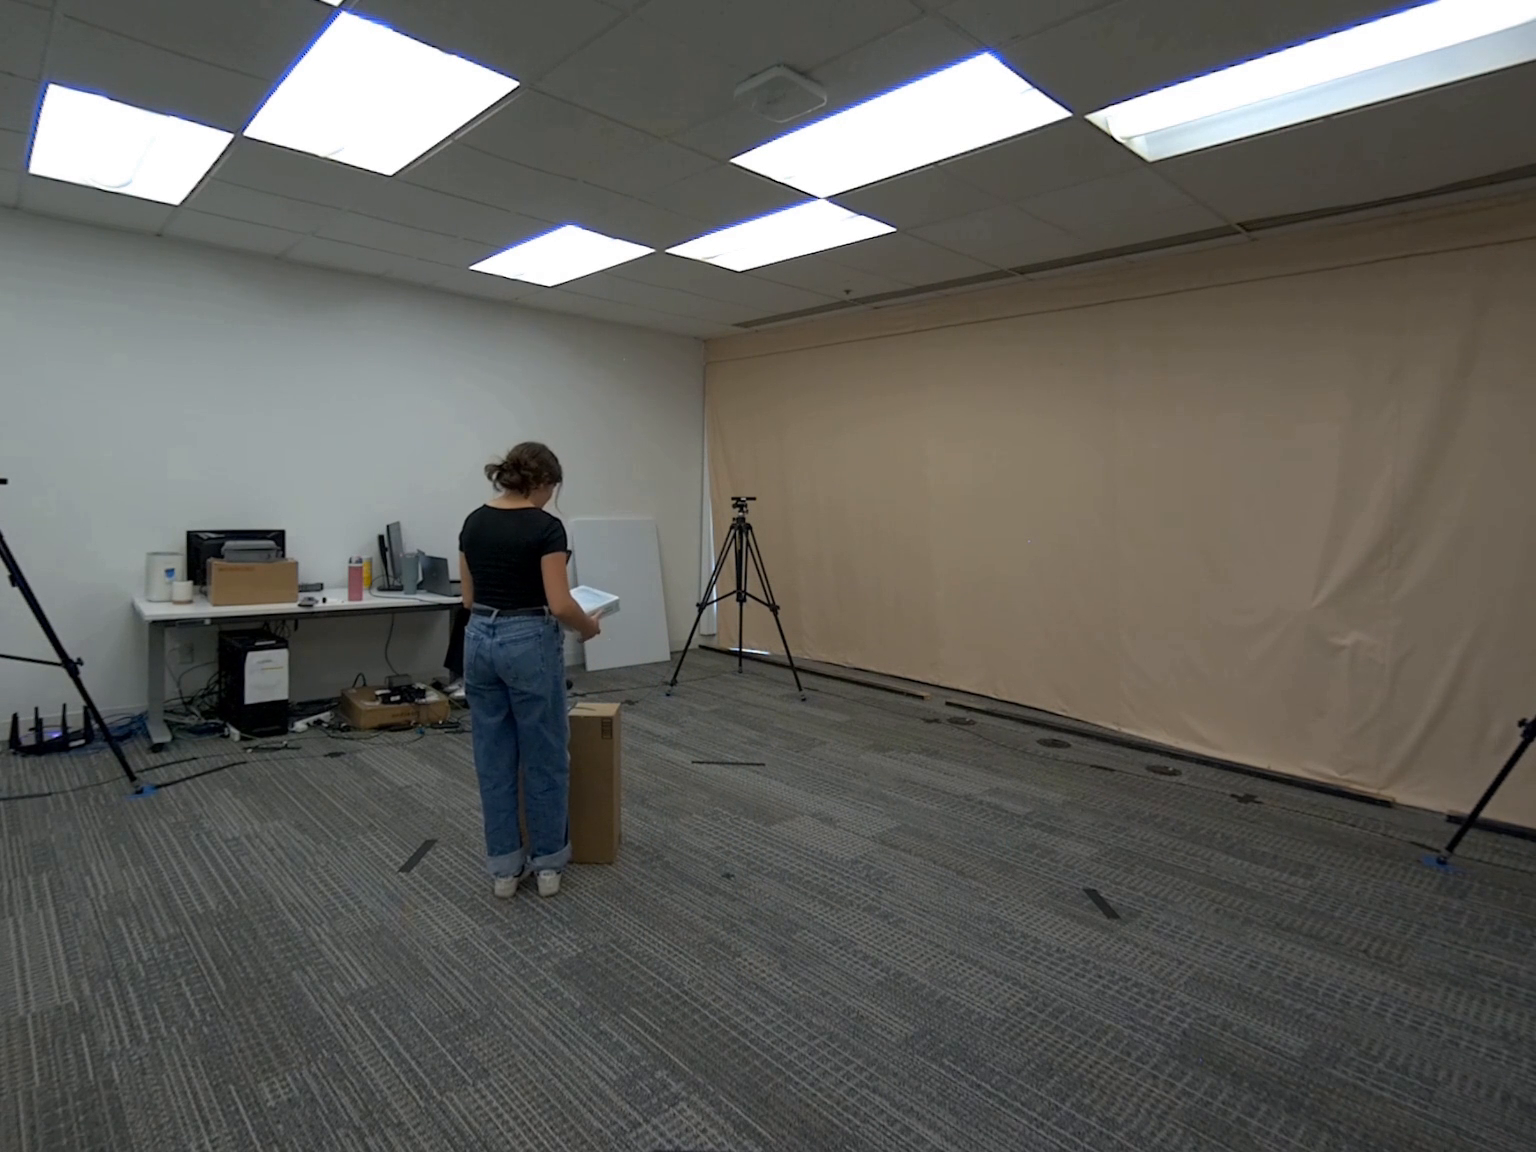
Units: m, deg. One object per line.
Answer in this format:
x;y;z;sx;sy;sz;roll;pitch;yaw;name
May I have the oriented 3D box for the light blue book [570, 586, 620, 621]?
-0.705;0.125;3.109;0.195;0.058;0.259;13;20;22;light blue book
